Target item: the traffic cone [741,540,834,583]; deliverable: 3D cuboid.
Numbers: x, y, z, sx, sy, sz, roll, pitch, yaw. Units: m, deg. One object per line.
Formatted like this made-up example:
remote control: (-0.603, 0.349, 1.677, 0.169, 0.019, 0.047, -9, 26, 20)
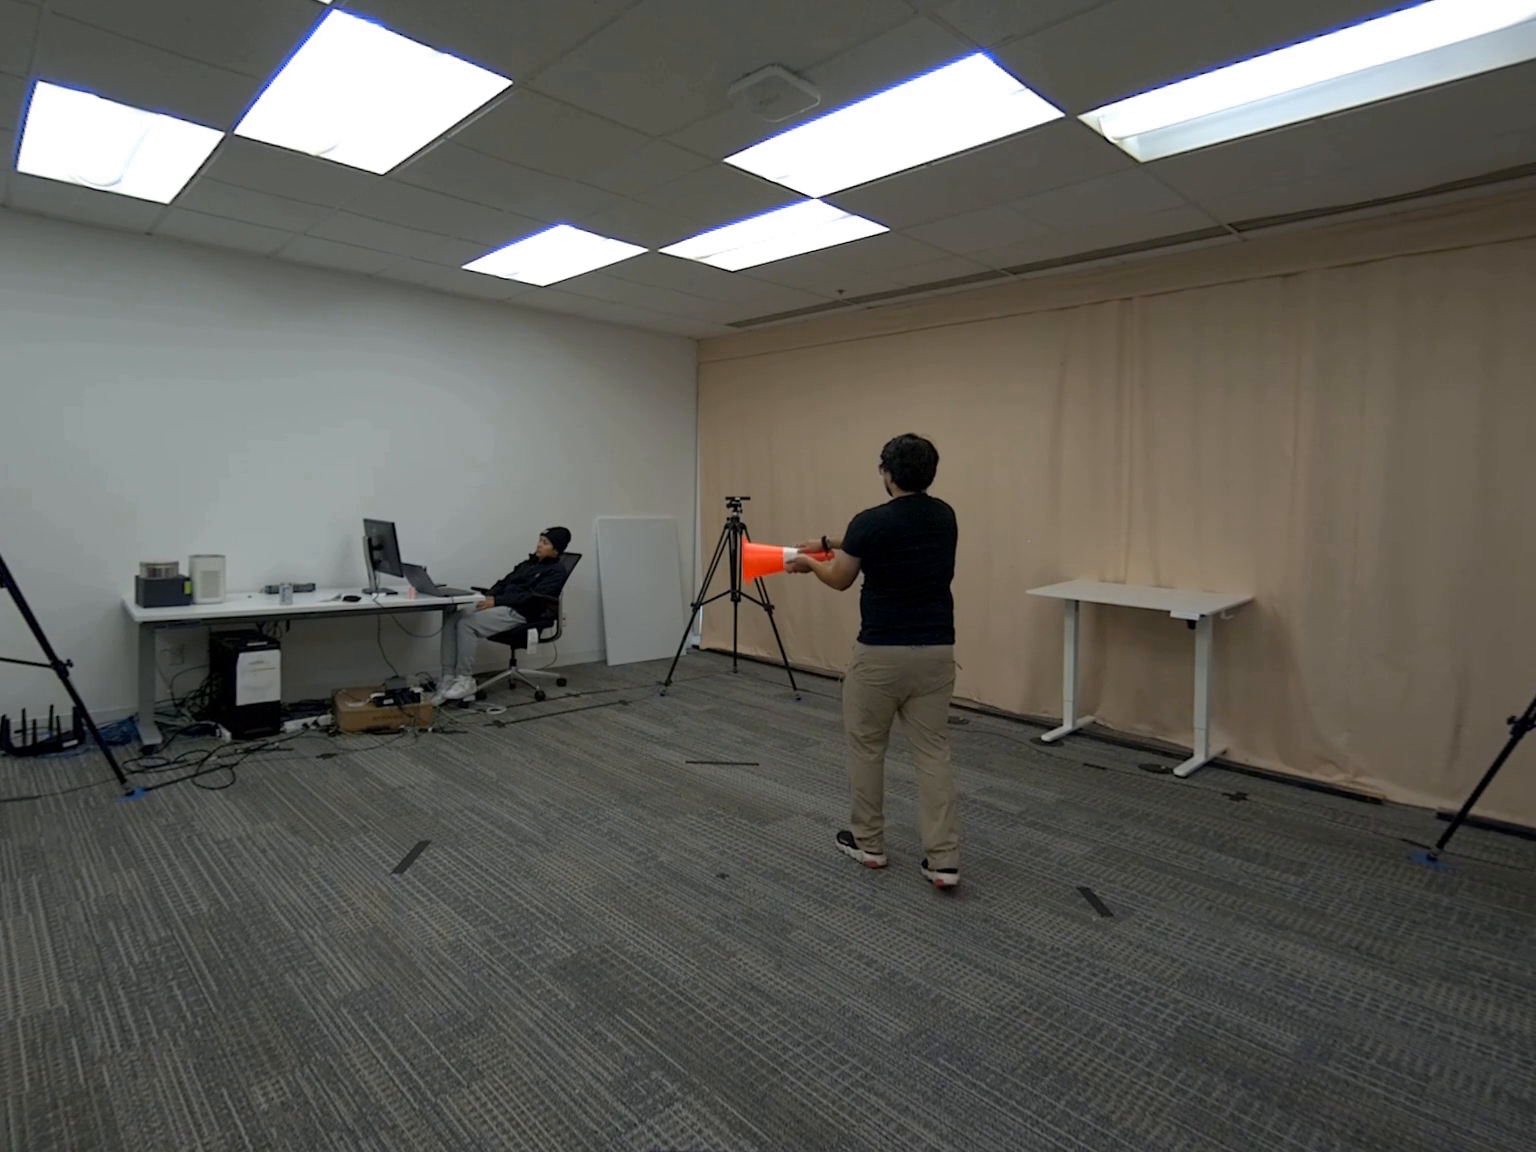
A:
traffic cone: (0.095, -0.069, 3.581, 0.387, 0.204, 0.202, 0, -5, 11)
